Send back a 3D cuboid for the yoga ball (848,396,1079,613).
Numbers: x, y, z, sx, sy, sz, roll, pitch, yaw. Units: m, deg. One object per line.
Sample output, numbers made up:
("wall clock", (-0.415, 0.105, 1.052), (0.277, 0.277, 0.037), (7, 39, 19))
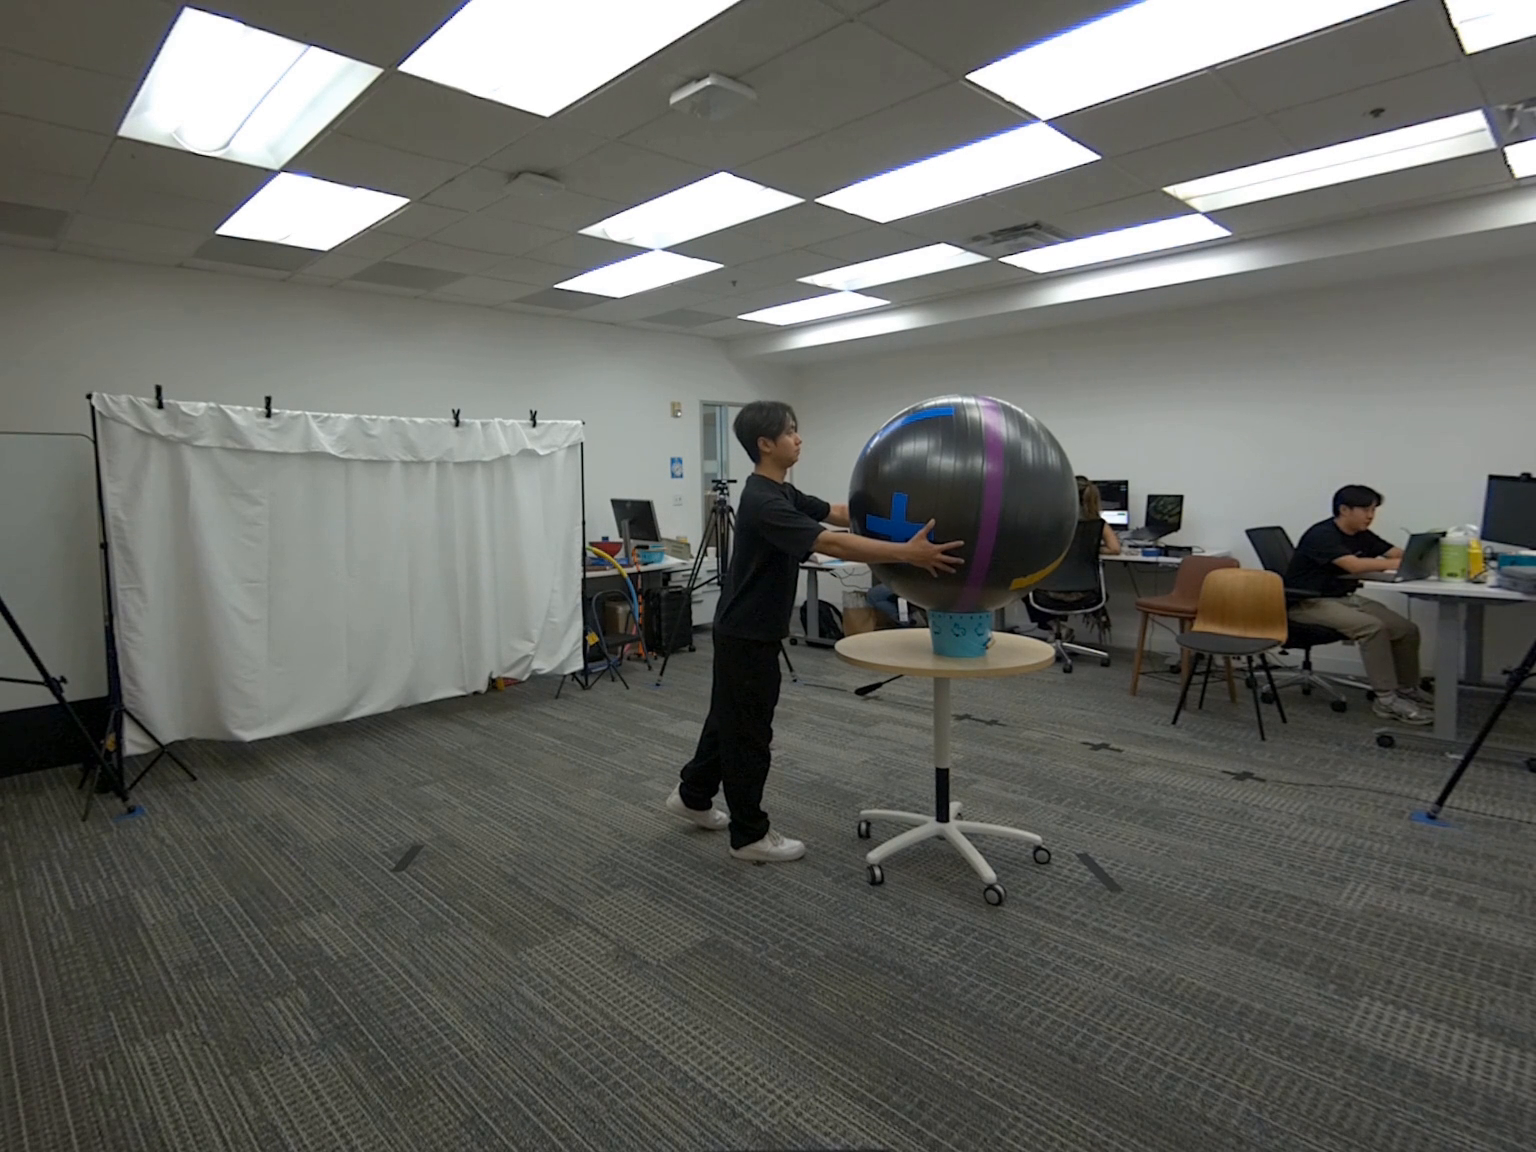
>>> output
("yoga ball", (0.675, -0.247, 2.958), (0.757, 0.755, 0.762), (-1, 5, -2))
